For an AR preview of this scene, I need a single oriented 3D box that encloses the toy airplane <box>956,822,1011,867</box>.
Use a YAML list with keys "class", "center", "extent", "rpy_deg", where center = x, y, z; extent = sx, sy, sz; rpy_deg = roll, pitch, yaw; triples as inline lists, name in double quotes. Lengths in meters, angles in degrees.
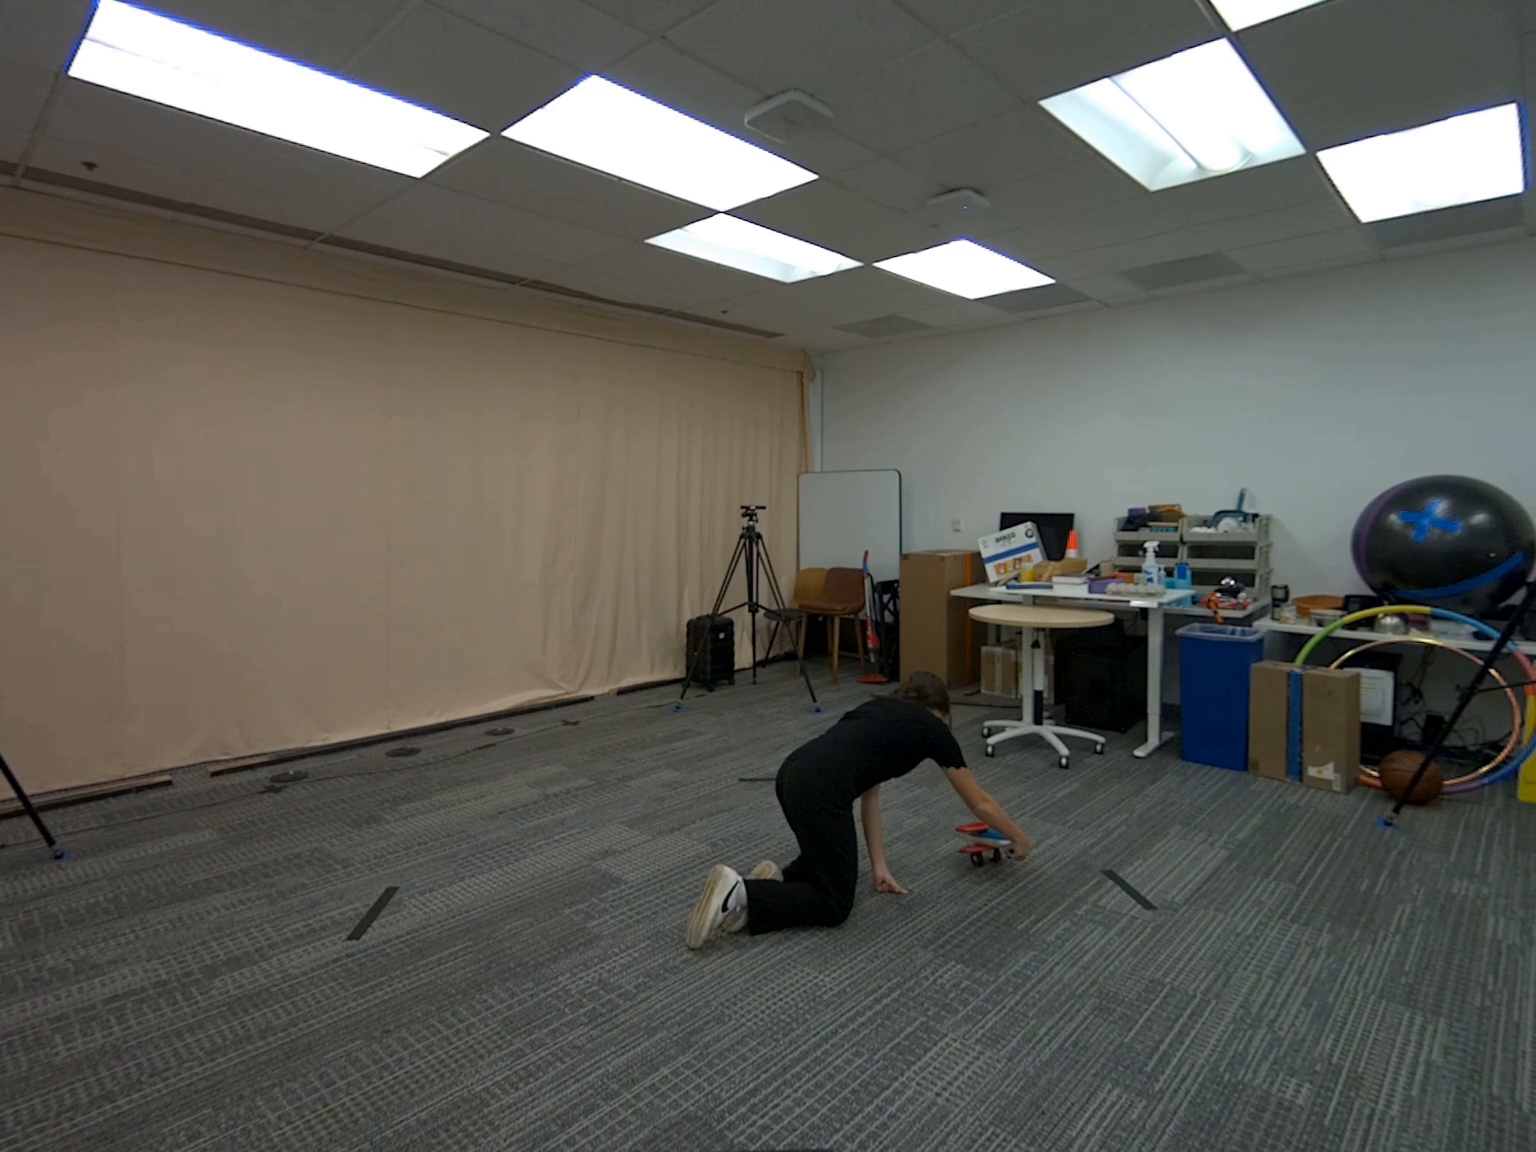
- class: "toy airplane"
  center: [0.885, 1.016, 3.231]
  extent: [0.264, 0.159, 0.242]
  rpy_deg: [-27, -27, 34]
